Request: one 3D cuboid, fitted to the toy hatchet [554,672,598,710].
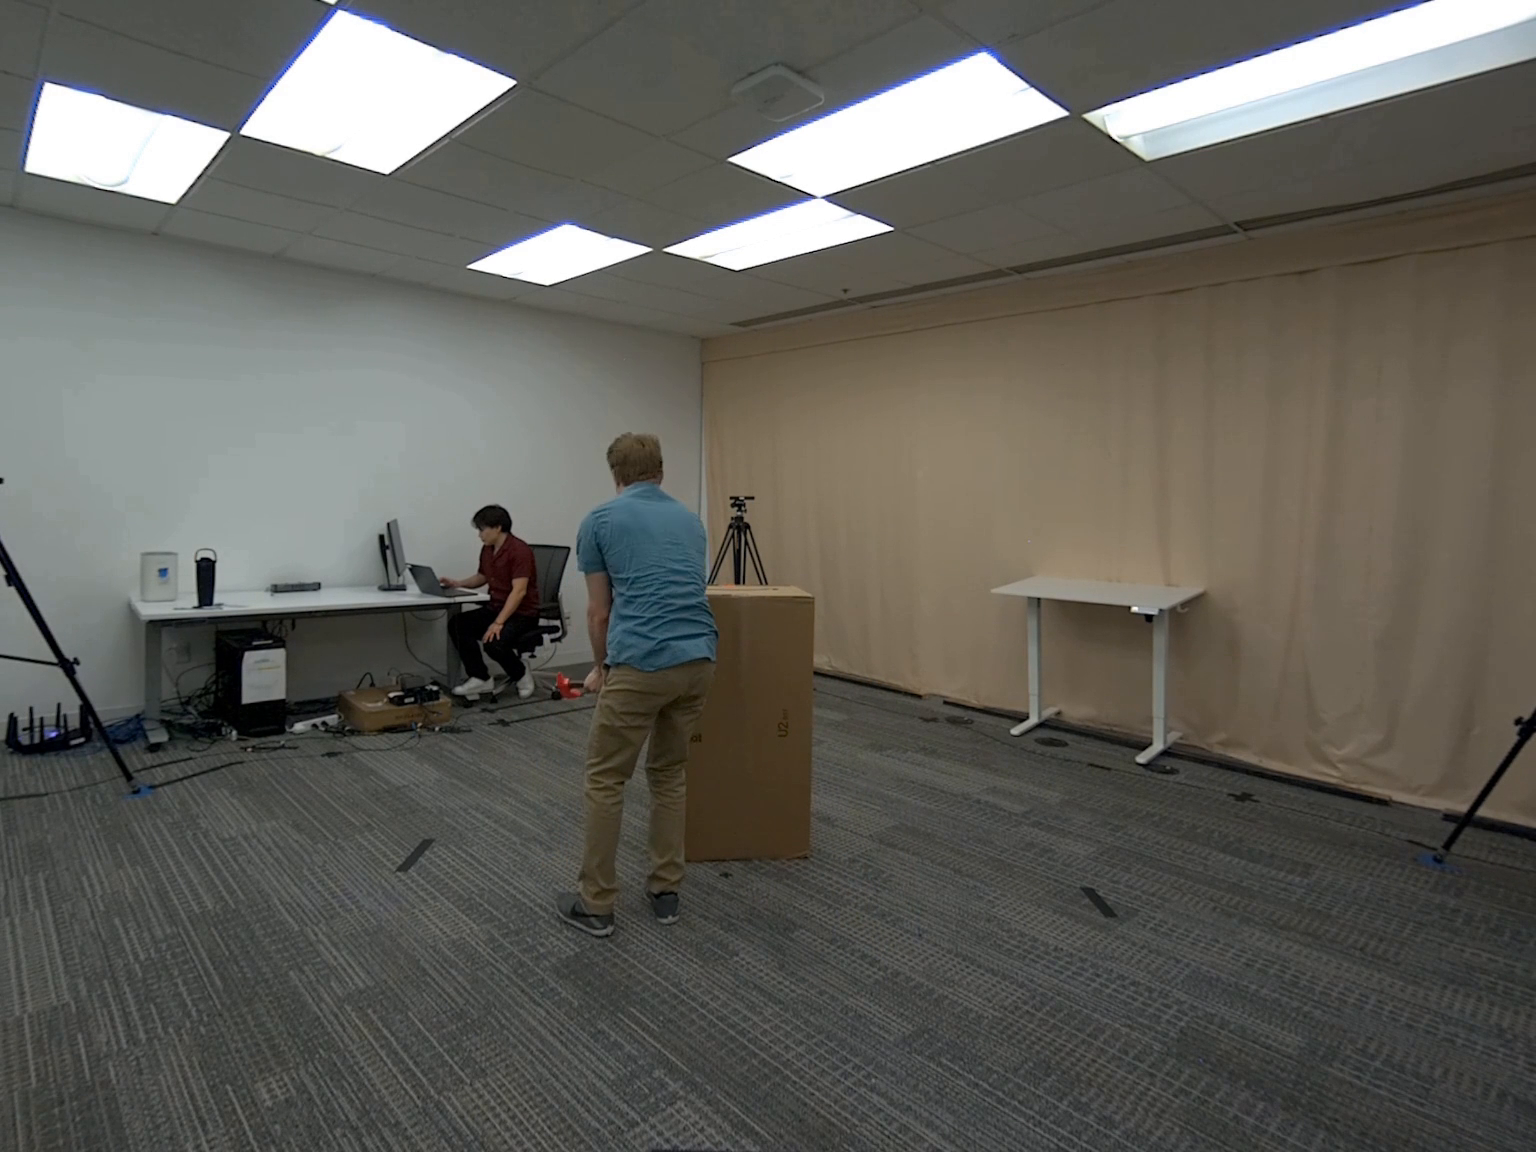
[{"bbox_3d":[-0.616,0.415,3.004,0.268,0.129,0.030,9,37,-8],"label":"toy hatchet"}]
